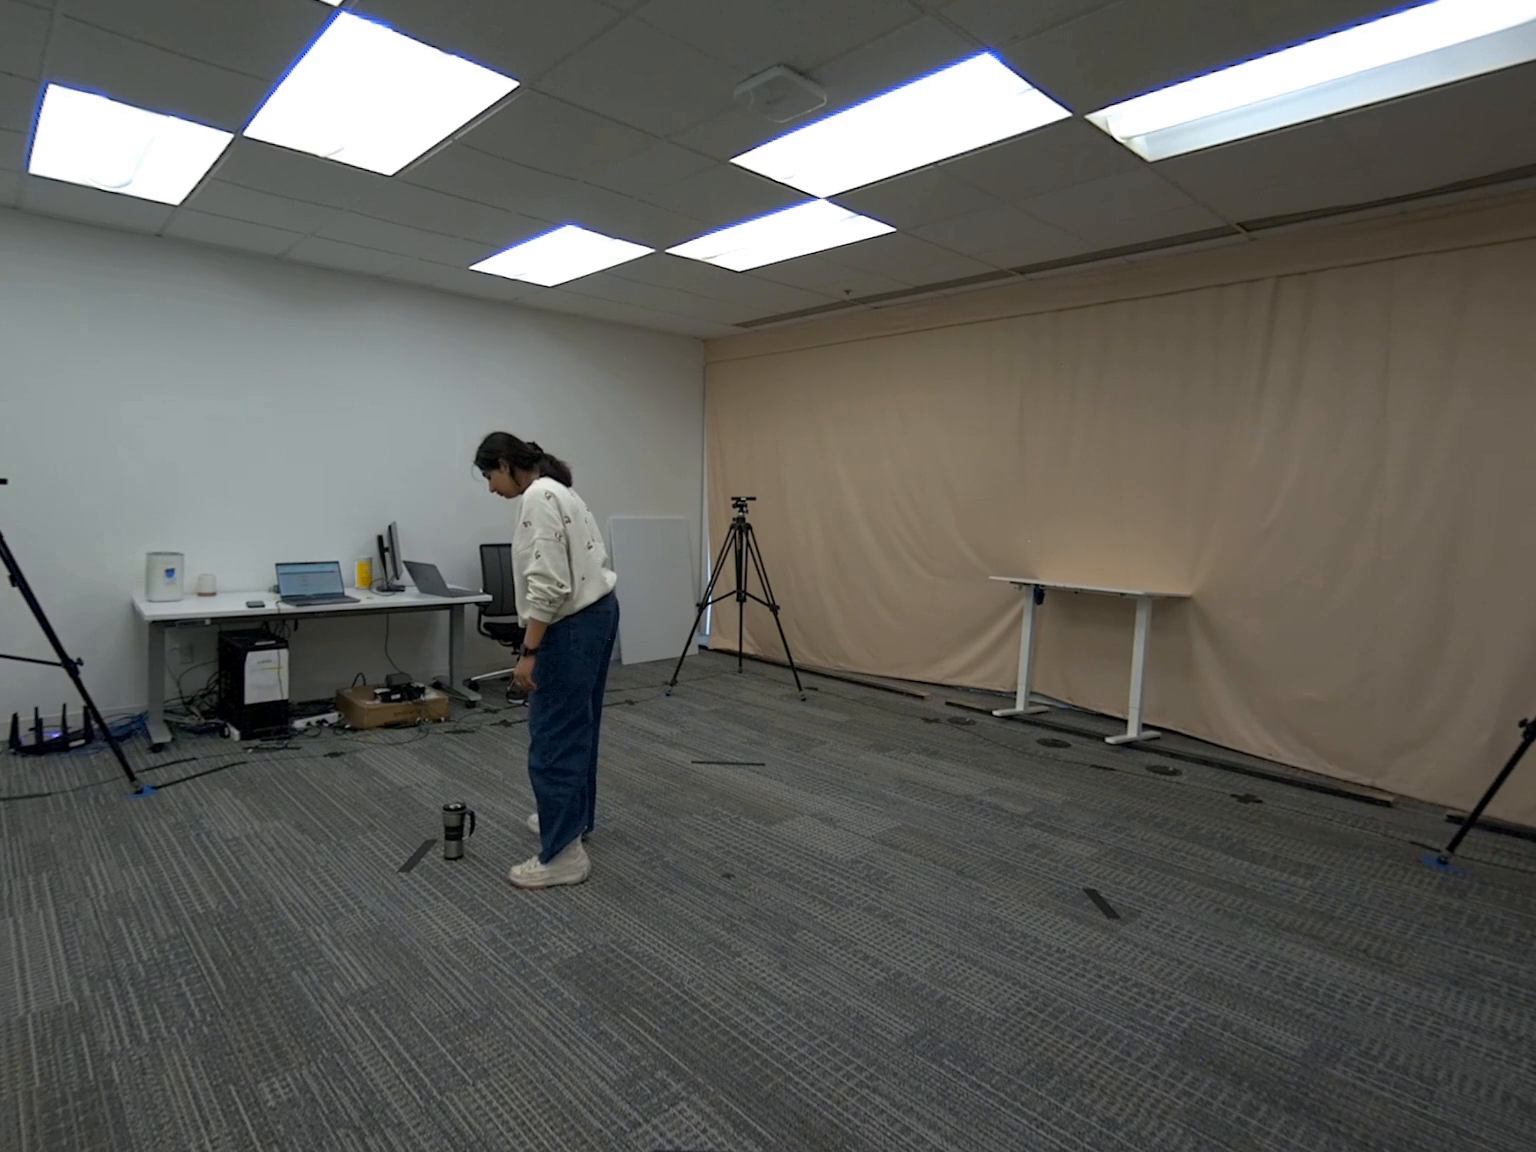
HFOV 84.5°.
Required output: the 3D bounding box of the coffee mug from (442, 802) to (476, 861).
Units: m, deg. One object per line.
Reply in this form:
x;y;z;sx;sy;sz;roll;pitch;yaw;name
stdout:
-1.189;0.975;3.199;0.125;0.203;0.086;-1;-3;44;coffee mug
